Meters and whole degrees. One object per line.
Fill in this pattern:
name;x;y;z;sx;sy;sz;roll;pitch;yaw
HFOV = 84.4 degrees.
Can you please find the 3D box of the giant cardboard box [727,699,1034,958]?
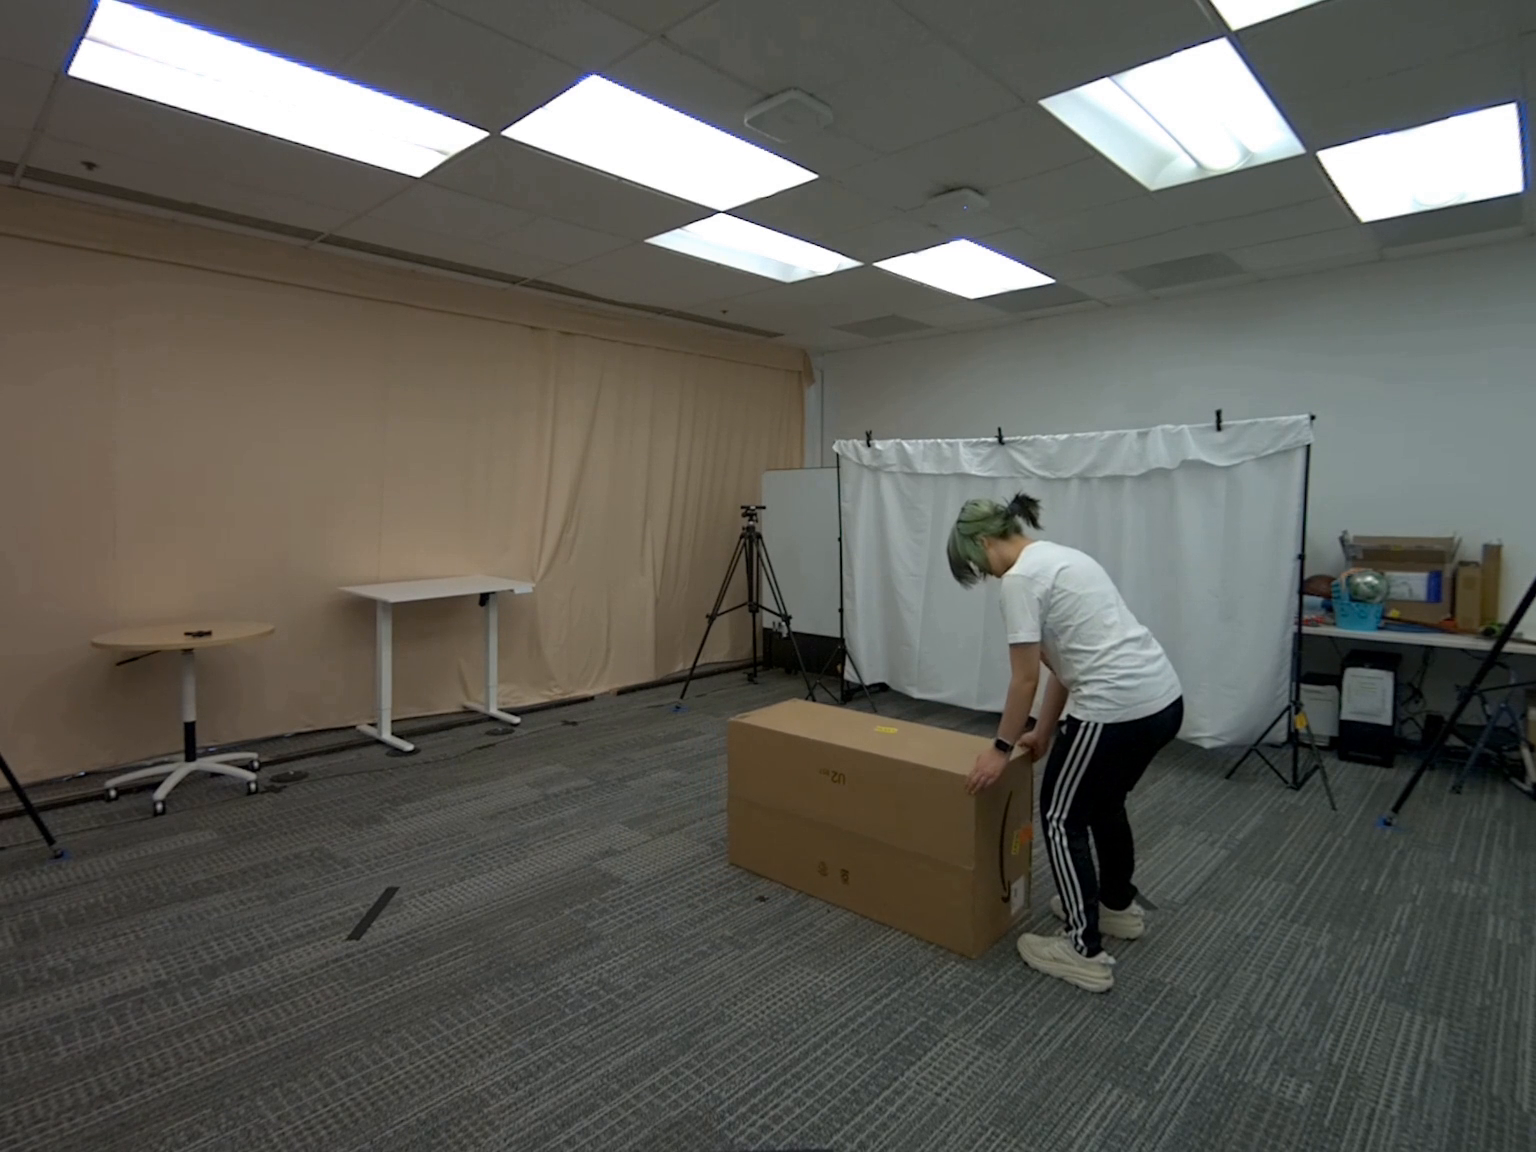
giant cardboard box;0.375;0.848;3.059;1.061;0.583;0.433;4;5;41
